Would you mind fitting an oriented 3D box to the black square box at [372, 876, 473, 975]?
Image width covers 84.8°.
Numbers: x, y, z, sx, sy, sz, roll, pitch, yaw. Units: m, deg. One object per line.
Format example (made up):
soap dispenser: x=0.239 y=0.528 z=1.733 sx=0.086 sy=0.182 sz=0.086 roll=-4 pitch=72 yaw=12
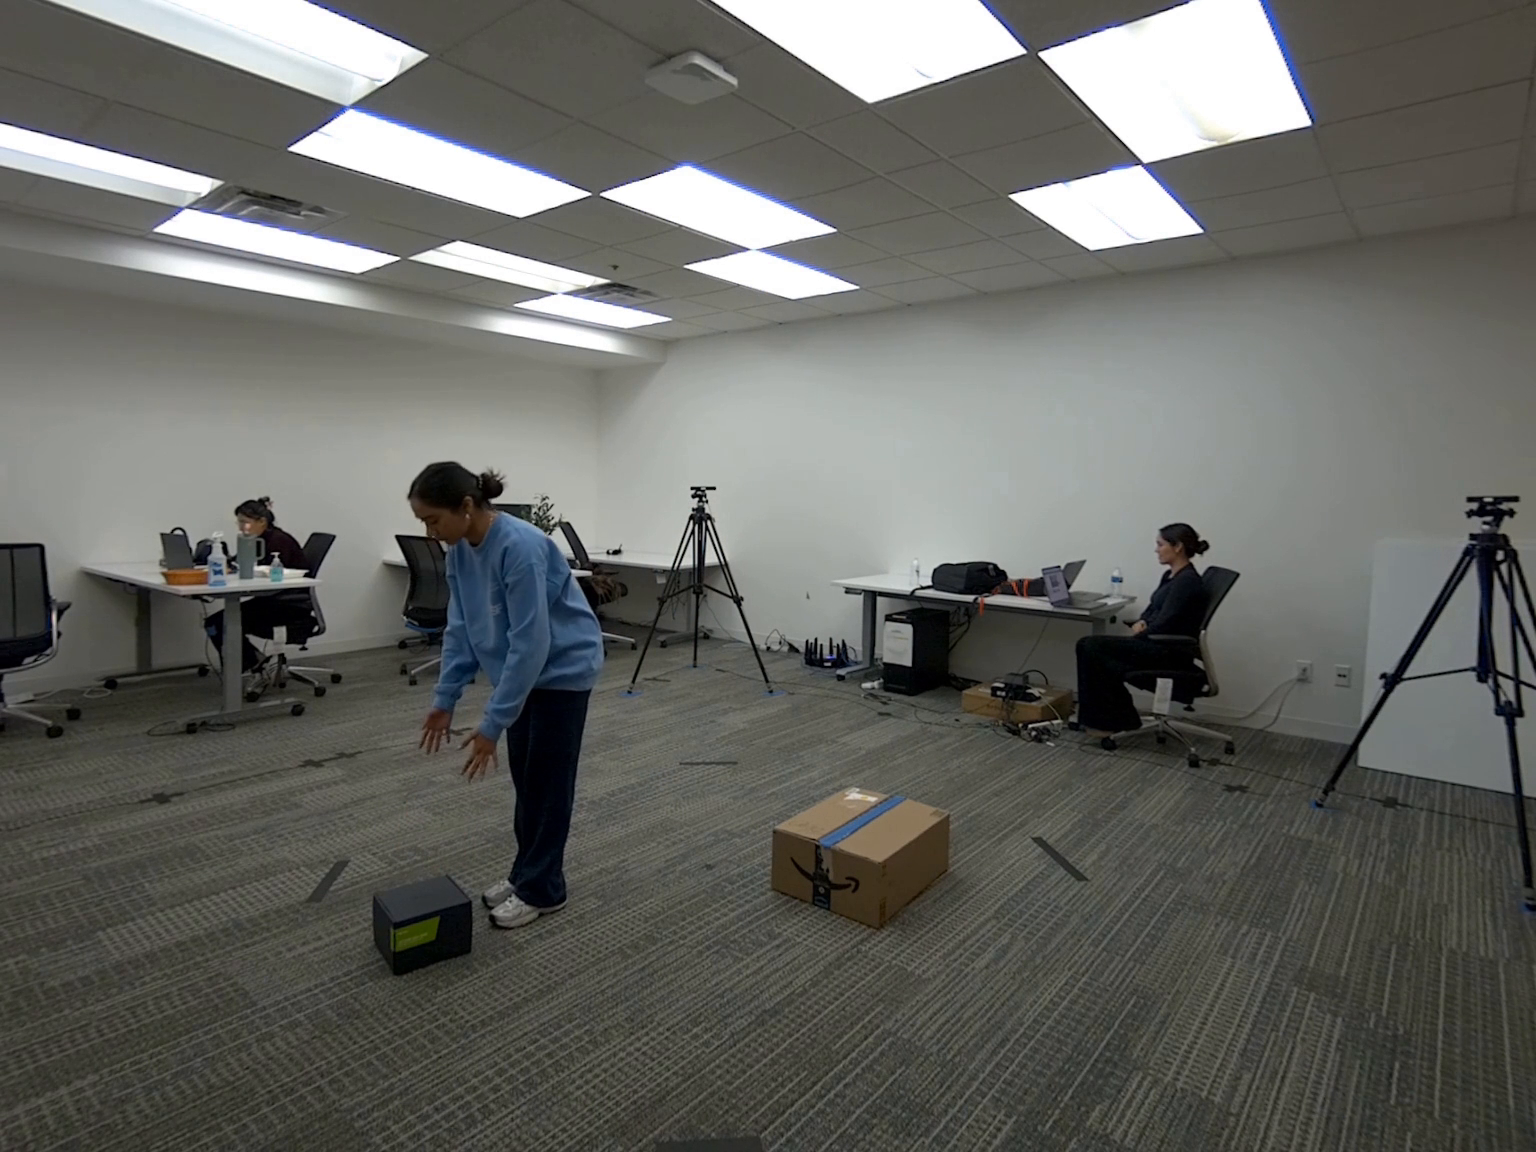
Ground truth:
black square box: x=-1.046 y=1.029 z=2.541 sx=0.221 sy=0.155 sz=0.224 roll=-3 pitch=7 yaw=-40
